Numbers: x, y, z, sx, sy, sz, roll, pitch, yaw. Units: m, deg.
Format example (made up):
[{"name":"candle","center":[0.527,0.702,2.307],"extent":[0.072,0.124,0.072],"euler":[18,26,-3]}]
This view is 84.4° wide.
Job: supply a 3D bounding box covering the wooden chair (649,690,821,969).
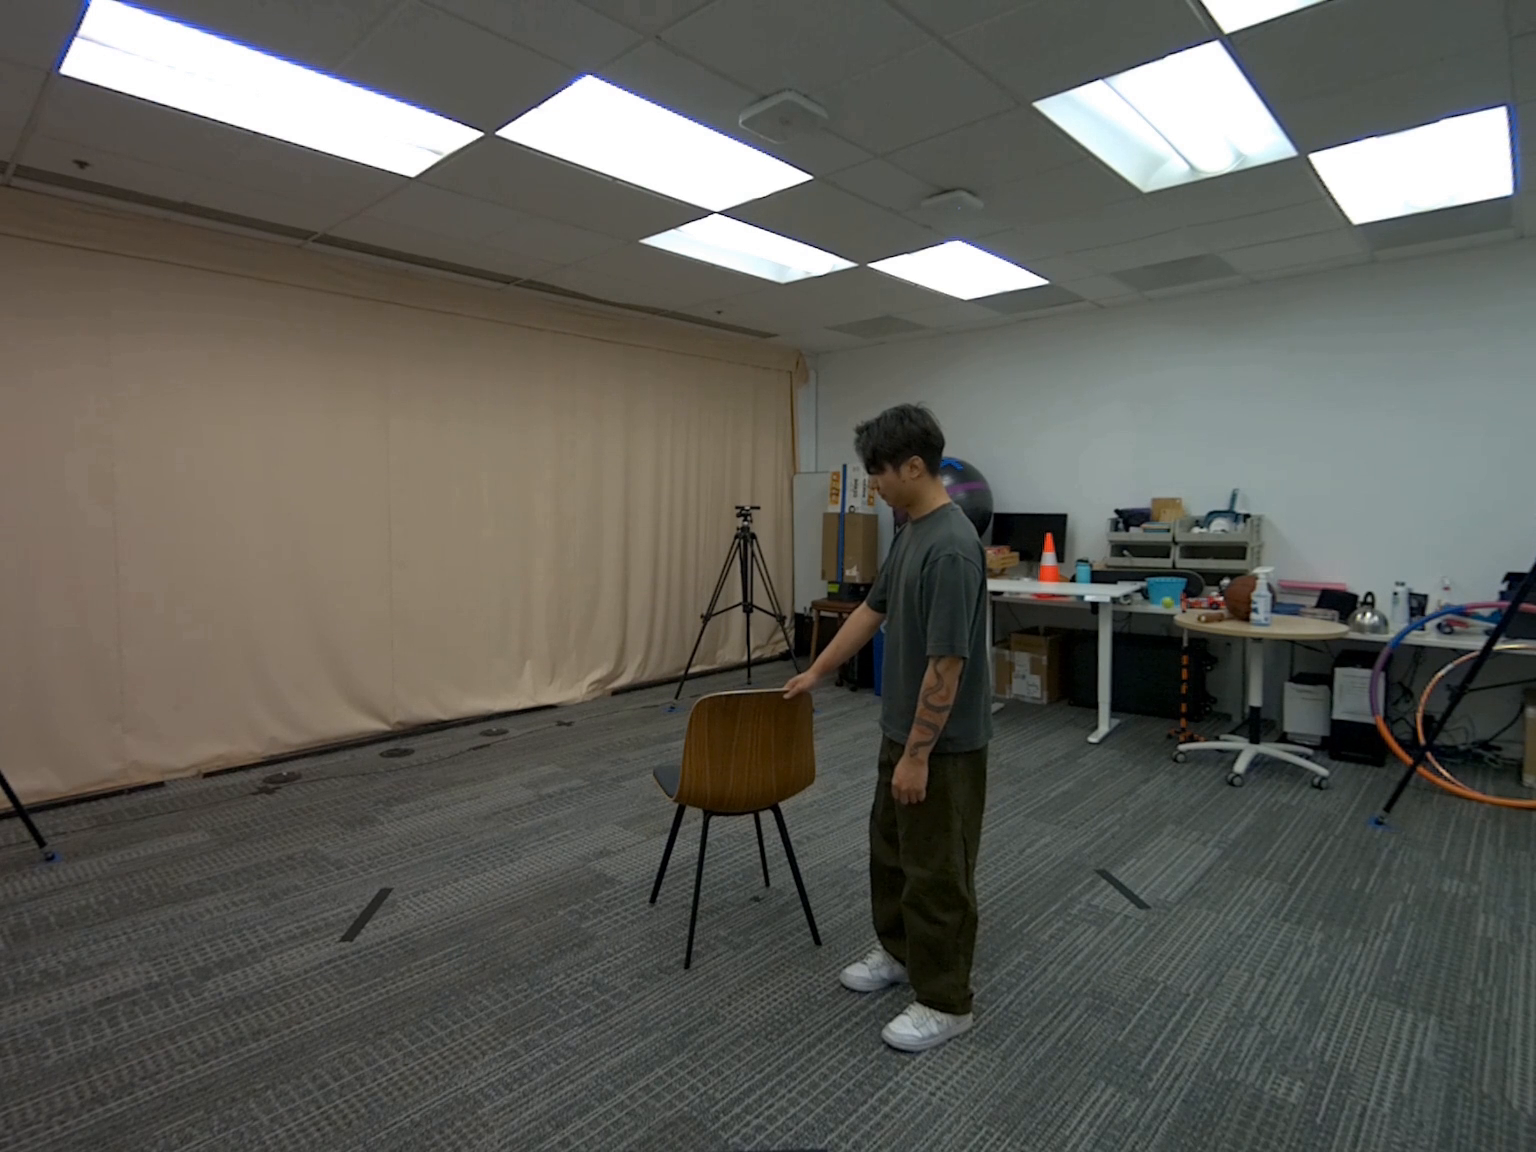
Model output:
[{"name":"wooden chair","center":[-0.123,0.733,2.788],"extent":[0.469,0.873,0.536],"euler":[-2,8,-20]}]
